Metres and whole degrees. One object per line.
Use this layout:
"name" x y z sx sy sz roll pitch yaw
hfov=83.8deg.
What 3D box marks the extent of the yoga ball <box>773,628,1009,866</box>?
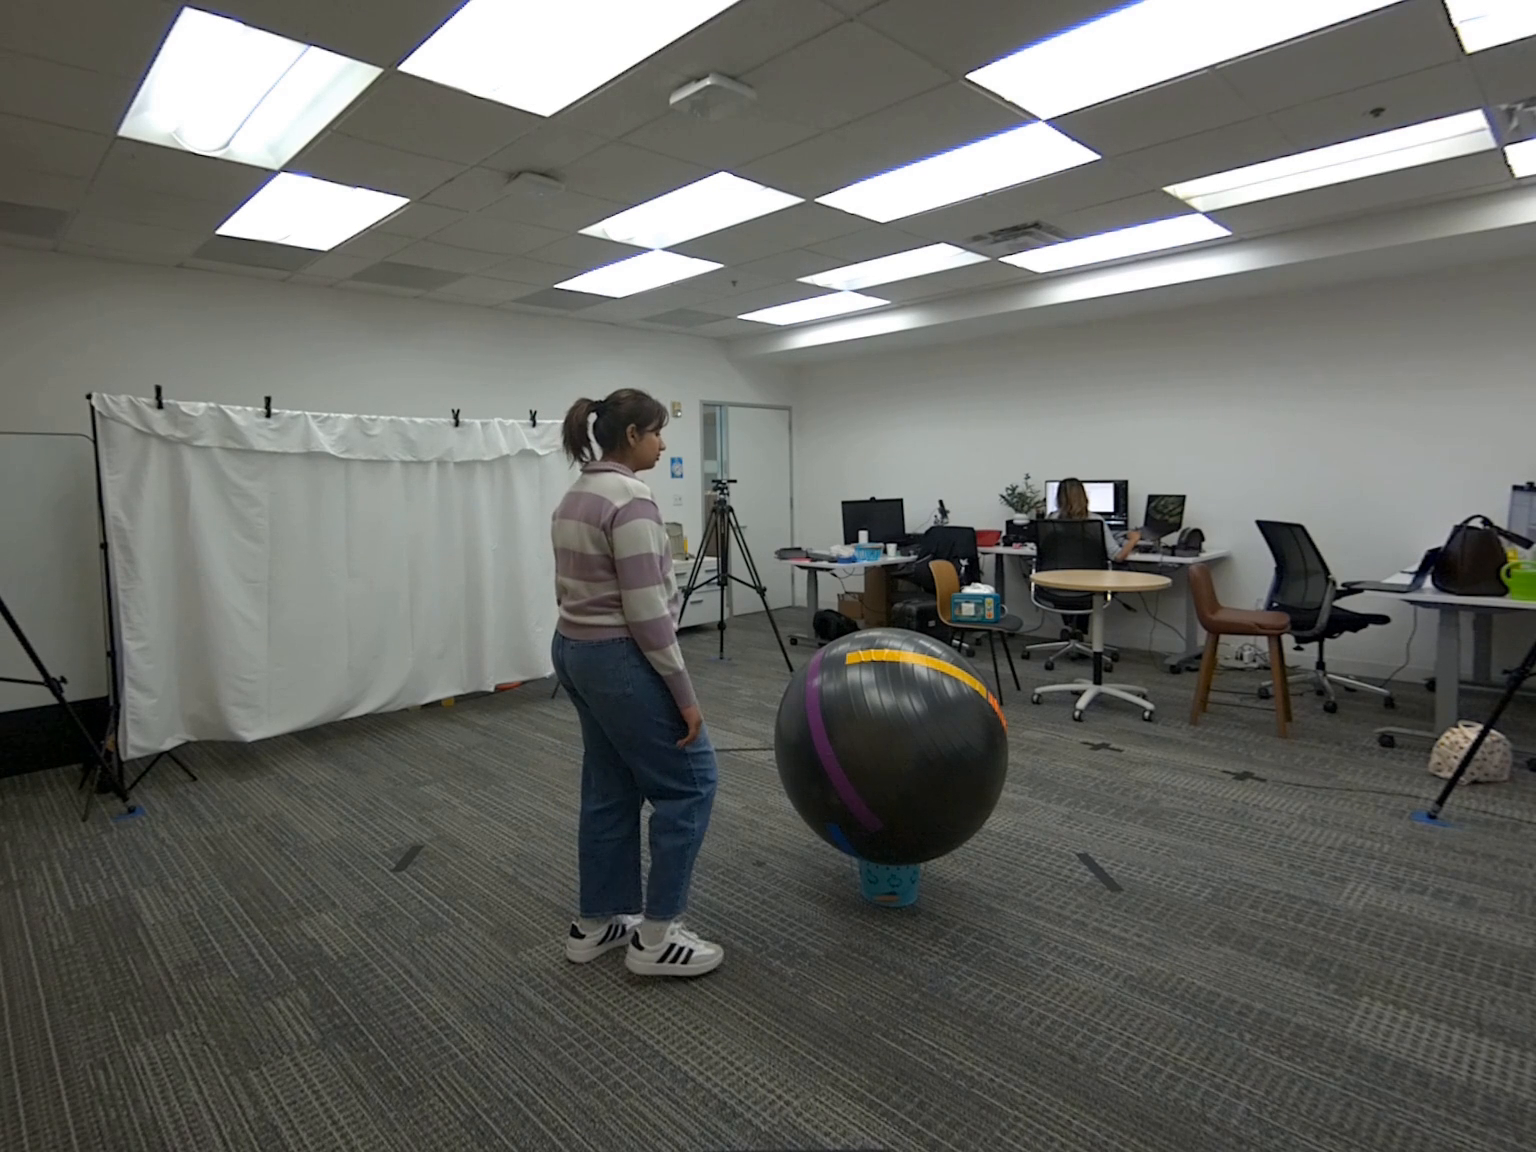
"yoga ball" 0.407 0.557 2.836 0.757 0.755 0.762 -1 5 -2
